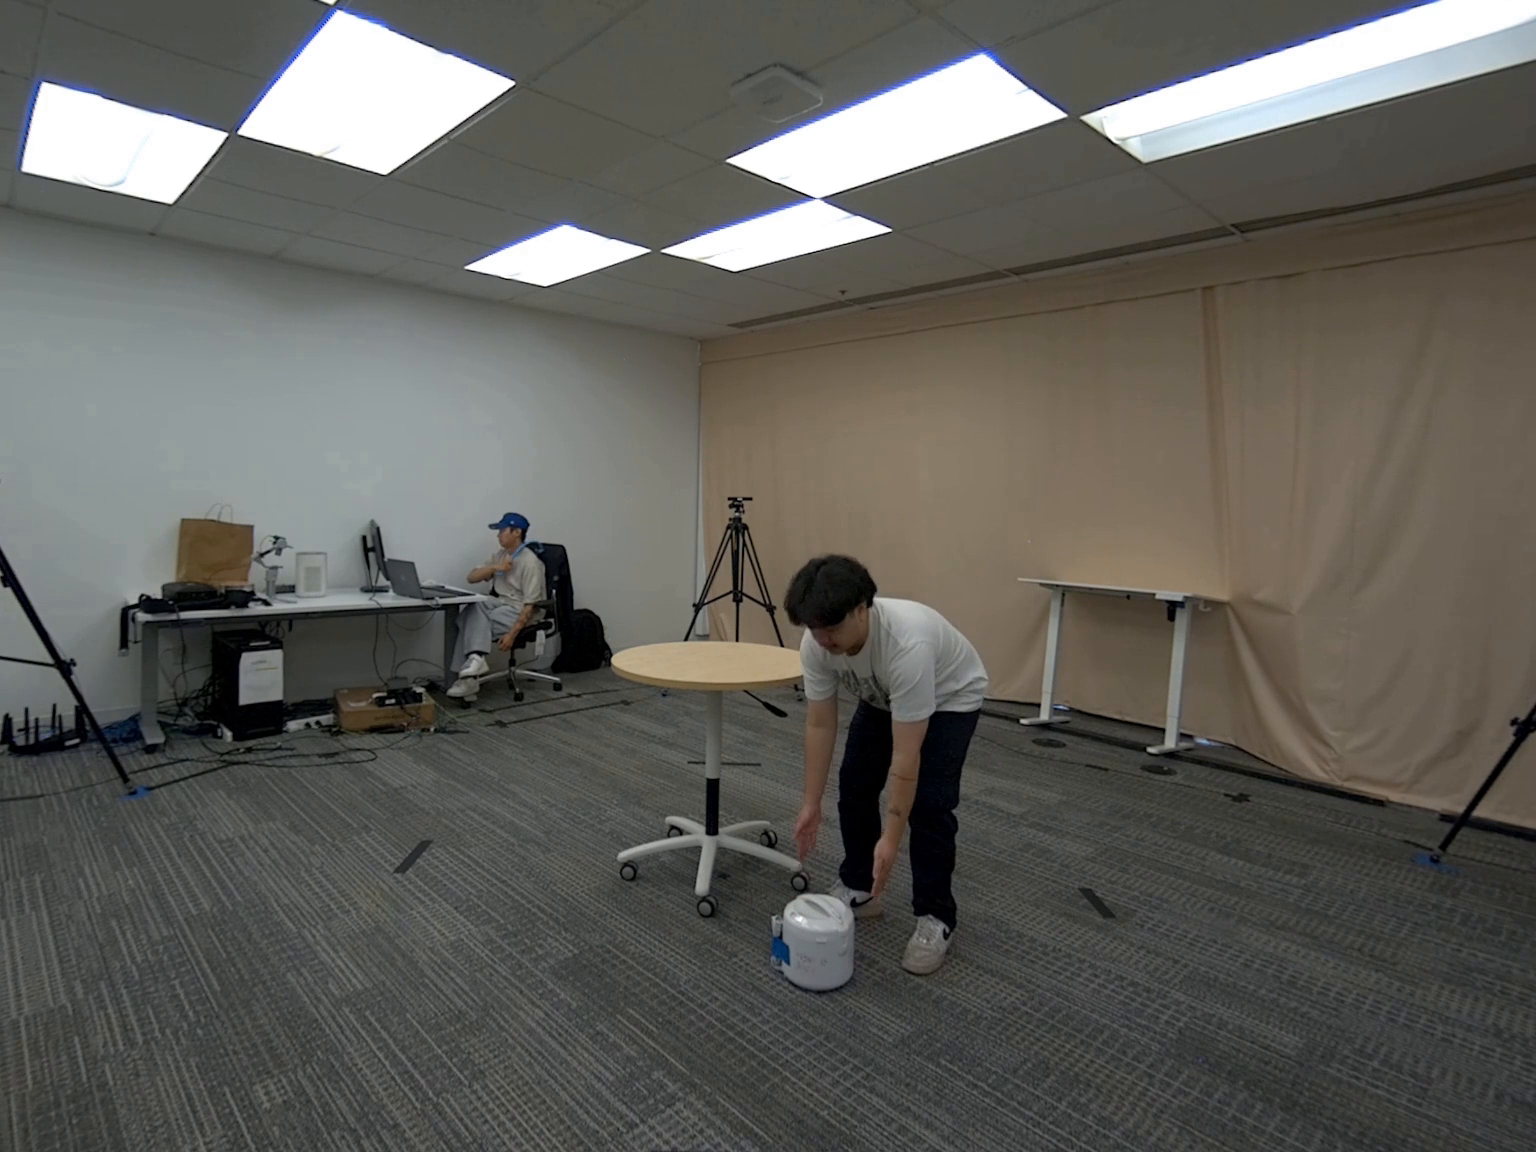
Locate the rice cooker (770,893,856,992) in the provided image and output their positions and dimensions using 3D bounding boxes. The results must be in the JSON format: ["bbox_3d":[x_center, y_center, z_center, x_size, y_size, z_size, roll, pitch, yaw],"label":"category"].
[{"bbox_3d":[0.143,1.055,2.467,0.212,0.232,0.226,-3,6,-39],"label":"rice cooker"}]
